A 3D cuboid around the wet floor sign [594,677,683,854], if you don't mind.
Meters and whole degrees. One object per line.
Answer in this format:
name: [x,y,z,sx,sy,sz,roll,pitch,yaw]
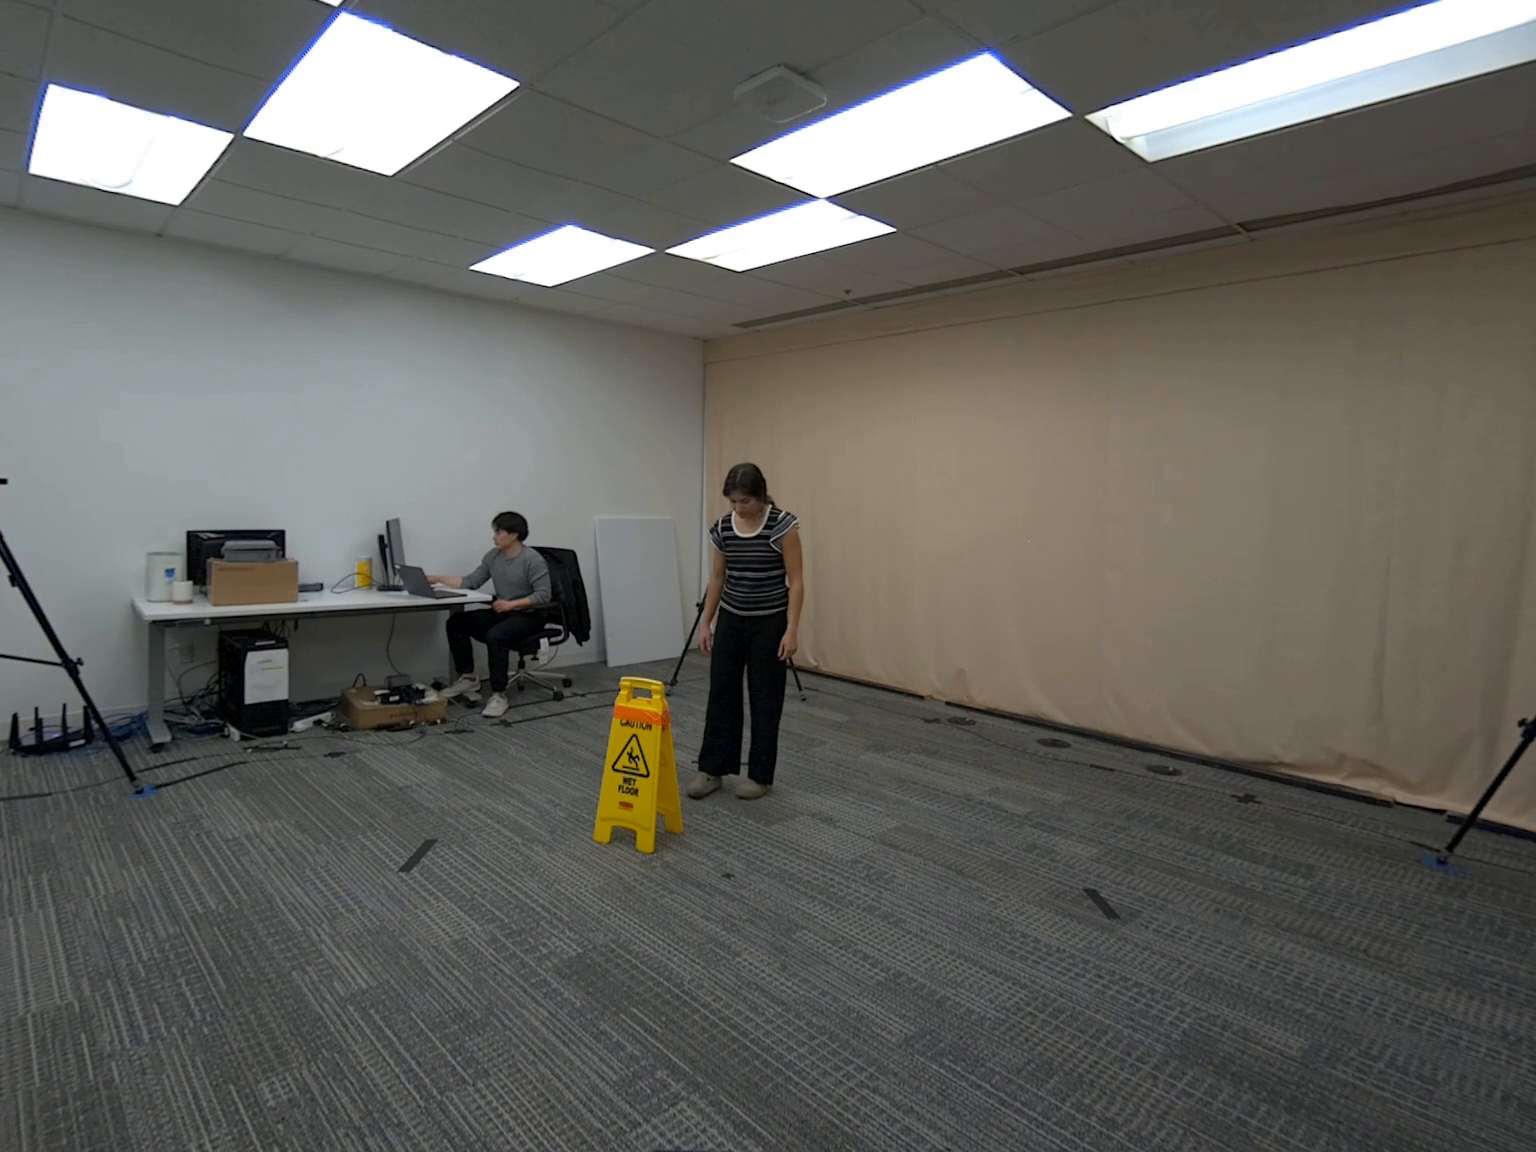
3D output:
wet floor sign: [-0.529,0.745,3.440,0.288,0.645,0.285,4,3,24]
